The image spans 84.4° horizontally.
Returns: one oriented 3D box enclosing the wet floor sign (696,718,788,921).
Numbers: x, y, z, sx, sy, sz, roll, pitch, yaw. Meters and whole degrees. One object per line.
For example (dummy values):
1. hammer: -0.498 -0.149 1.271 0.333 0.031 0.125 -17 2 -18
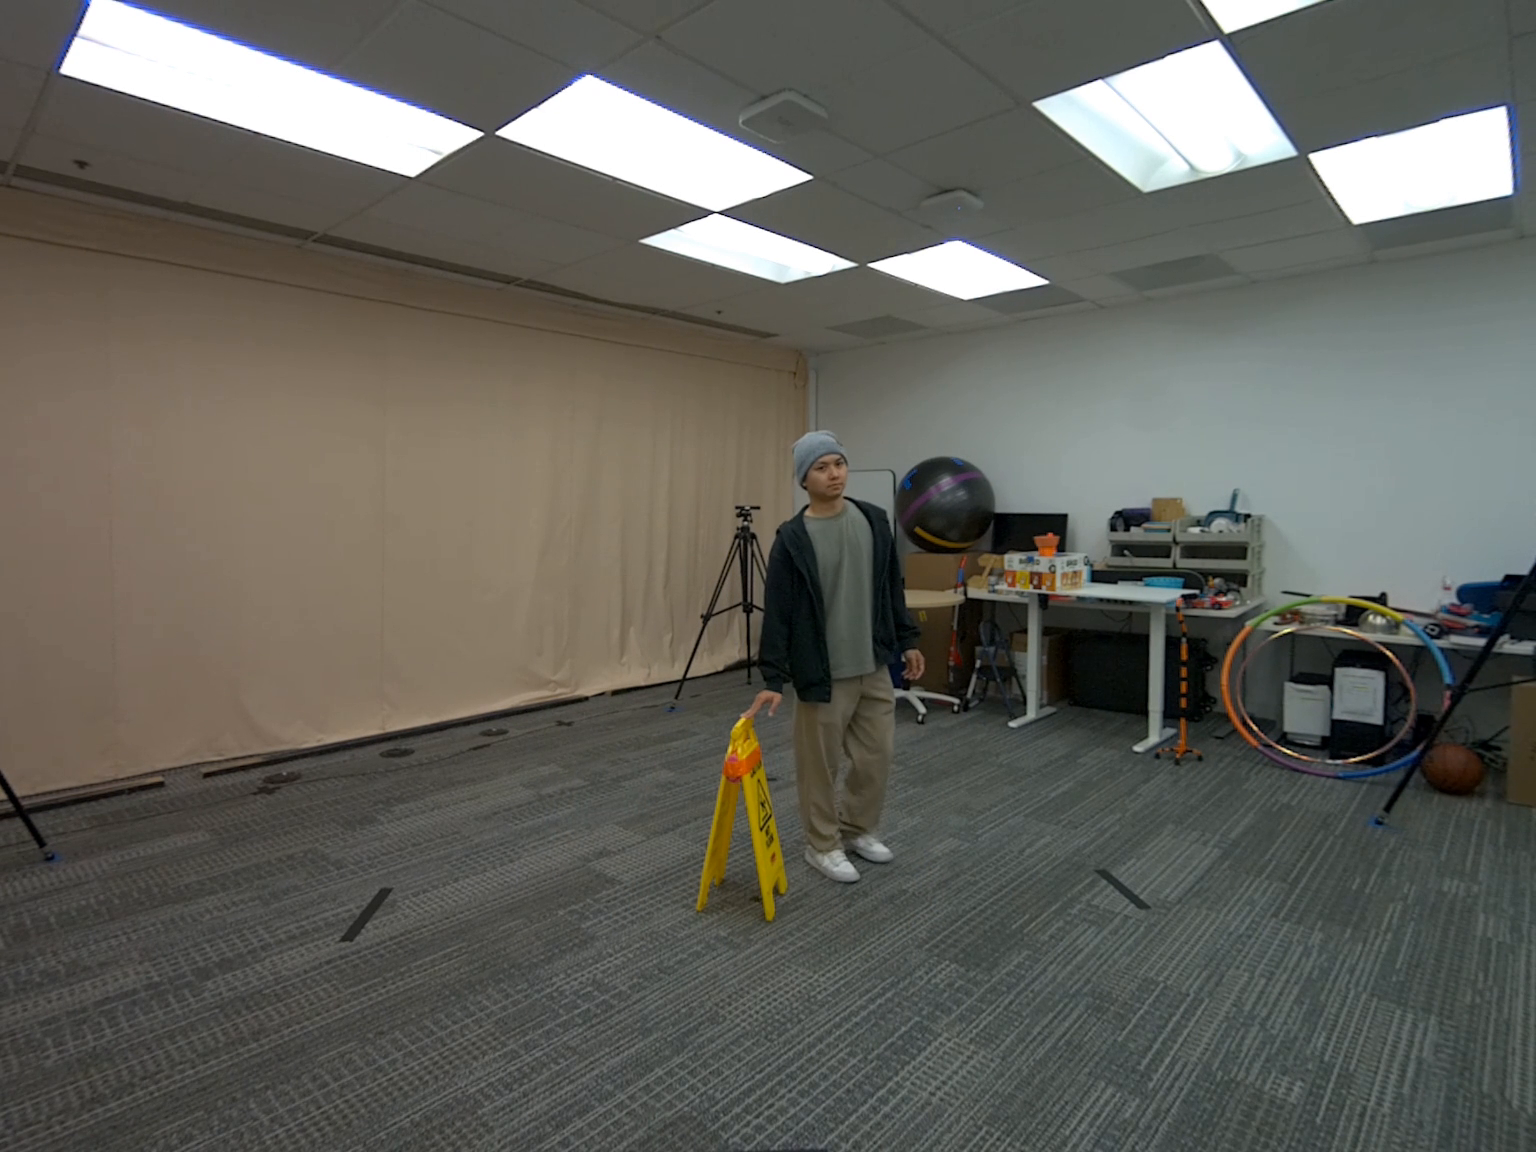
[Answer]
1. wet floor sign: -0.090 0.822 2.964 0.295 0.645 0.278 0 1 15
